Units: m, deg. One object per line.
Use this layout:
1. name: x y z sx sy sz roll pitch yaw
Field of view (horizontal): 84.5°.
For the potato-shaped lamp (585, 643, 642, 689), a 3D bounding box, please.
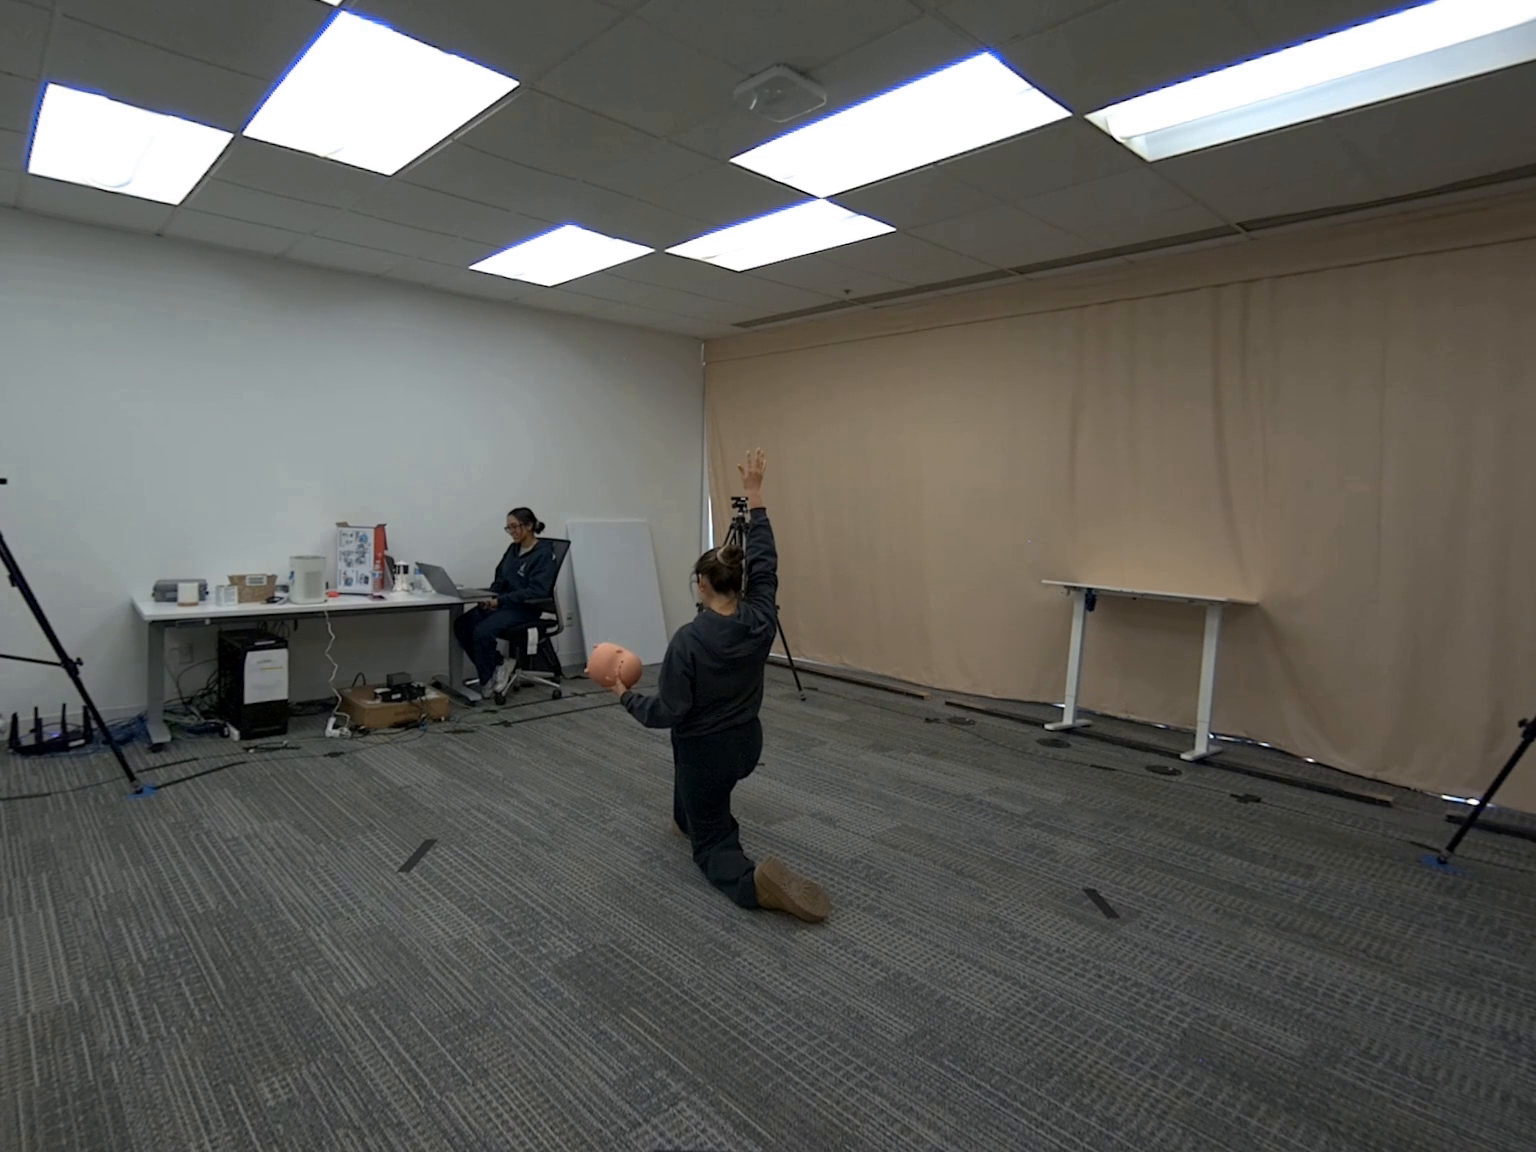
1. potato-shaped lamp: -0.583 0.349 3.231 0.202 0.166 0.167 10 -21 20
